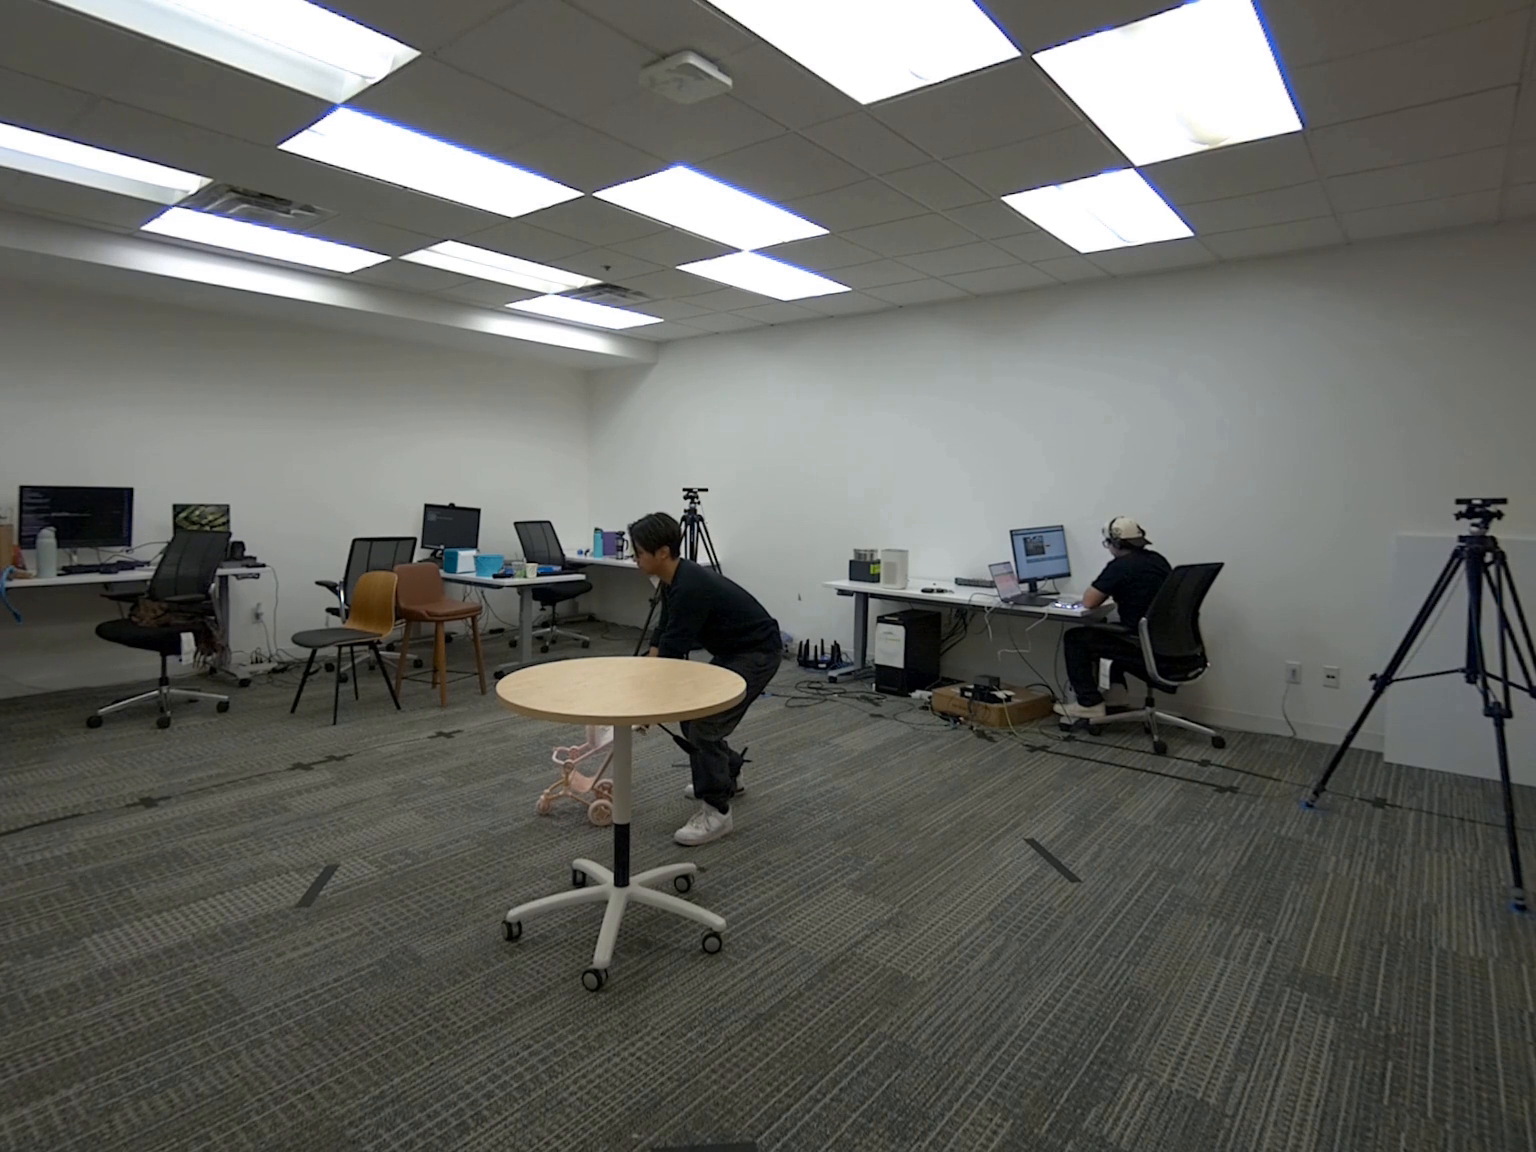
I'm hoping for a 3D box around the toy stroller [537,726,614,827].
[{"bbox_3d":[-0.773,0.791,3.613,0.341,0.534,0.282,17,2,-1],"label":"toy stroller"}]
